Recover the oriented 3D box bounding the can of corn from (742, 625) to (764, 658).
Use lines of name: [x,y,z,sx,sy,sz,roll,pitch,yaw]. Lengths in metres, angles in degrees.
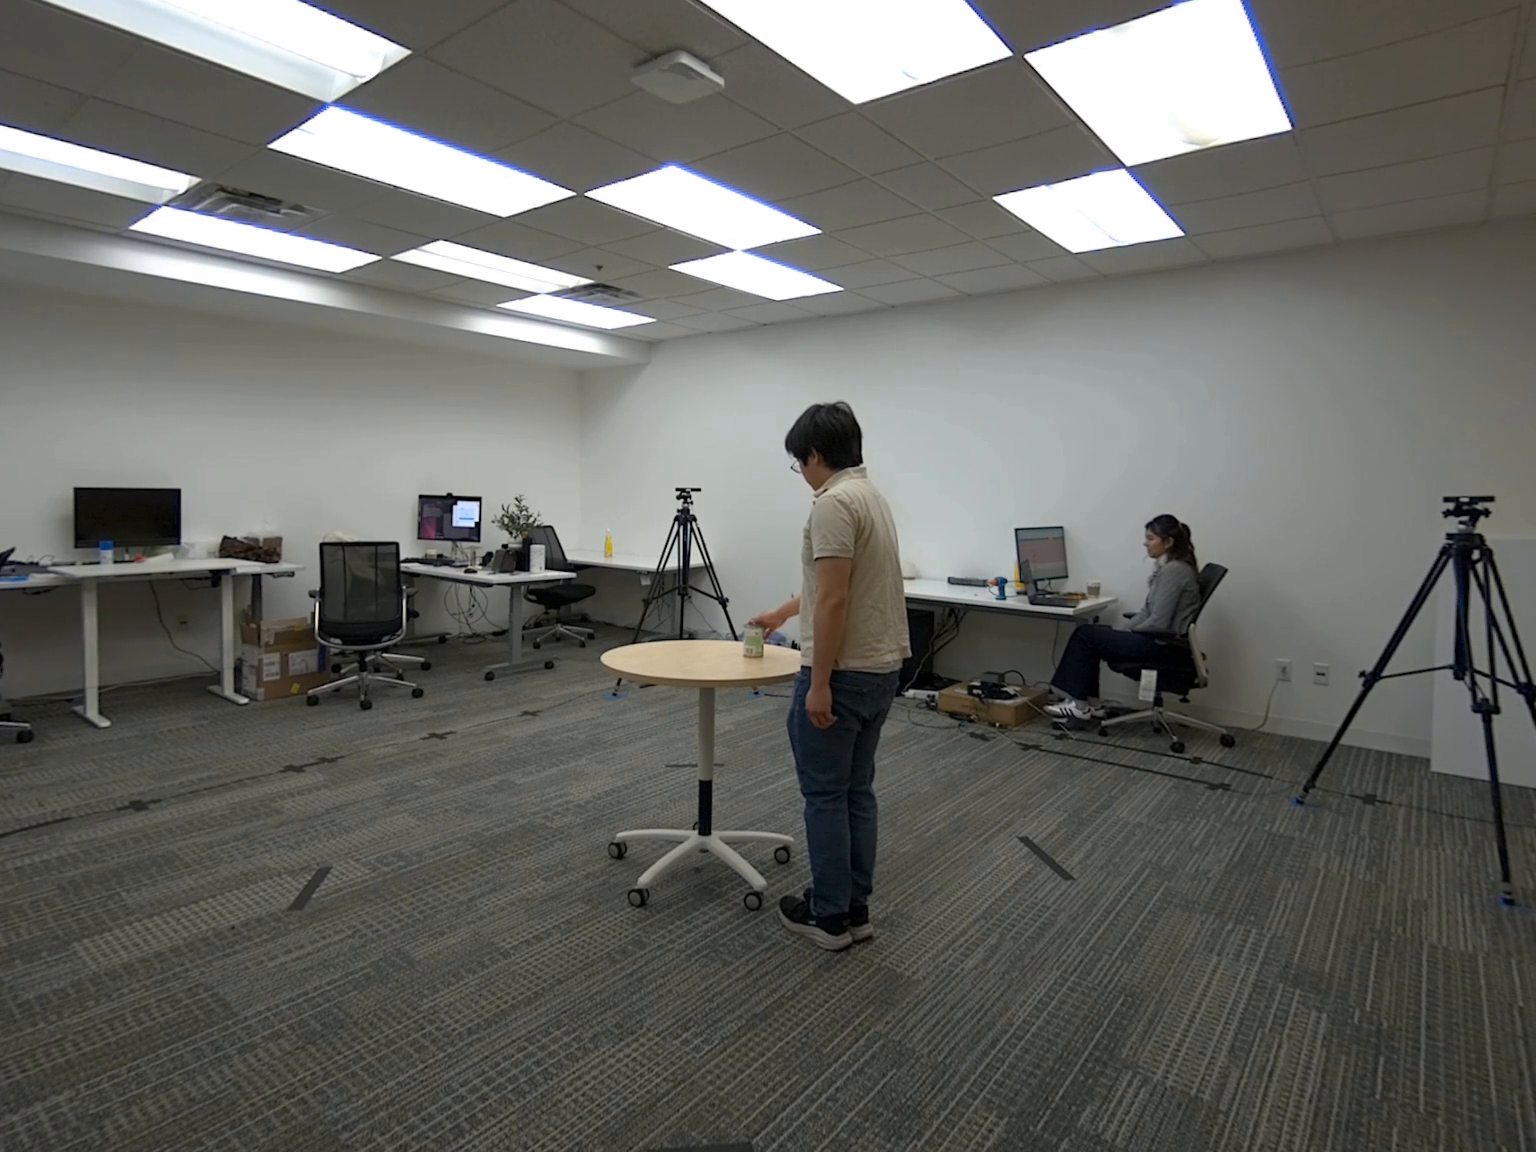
can of corn: [-0.070,0.234,3.092,0.074,0.111,0.074,0,1,-2]
